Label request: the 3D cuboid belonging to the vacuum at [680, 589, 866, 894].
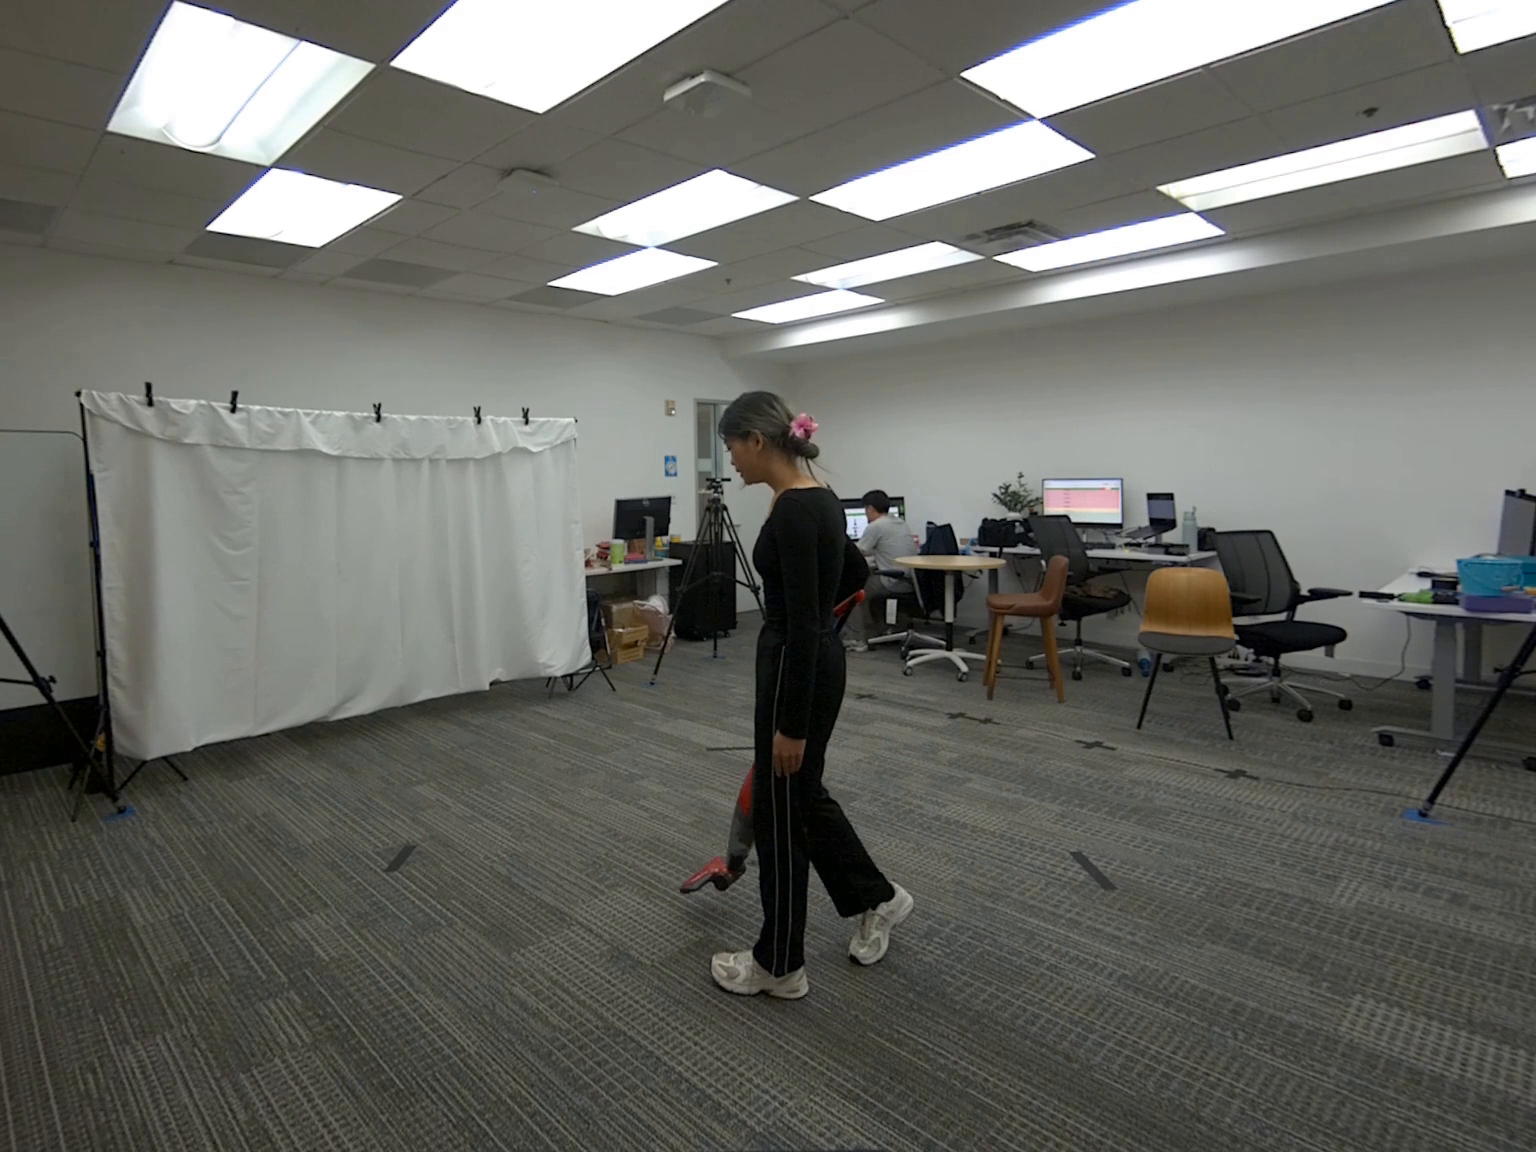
[{"bbox_3d":[0.040,0.525,2.612,0.148,1.043,0.247,30,15,21],"label":"vacuum"}]
